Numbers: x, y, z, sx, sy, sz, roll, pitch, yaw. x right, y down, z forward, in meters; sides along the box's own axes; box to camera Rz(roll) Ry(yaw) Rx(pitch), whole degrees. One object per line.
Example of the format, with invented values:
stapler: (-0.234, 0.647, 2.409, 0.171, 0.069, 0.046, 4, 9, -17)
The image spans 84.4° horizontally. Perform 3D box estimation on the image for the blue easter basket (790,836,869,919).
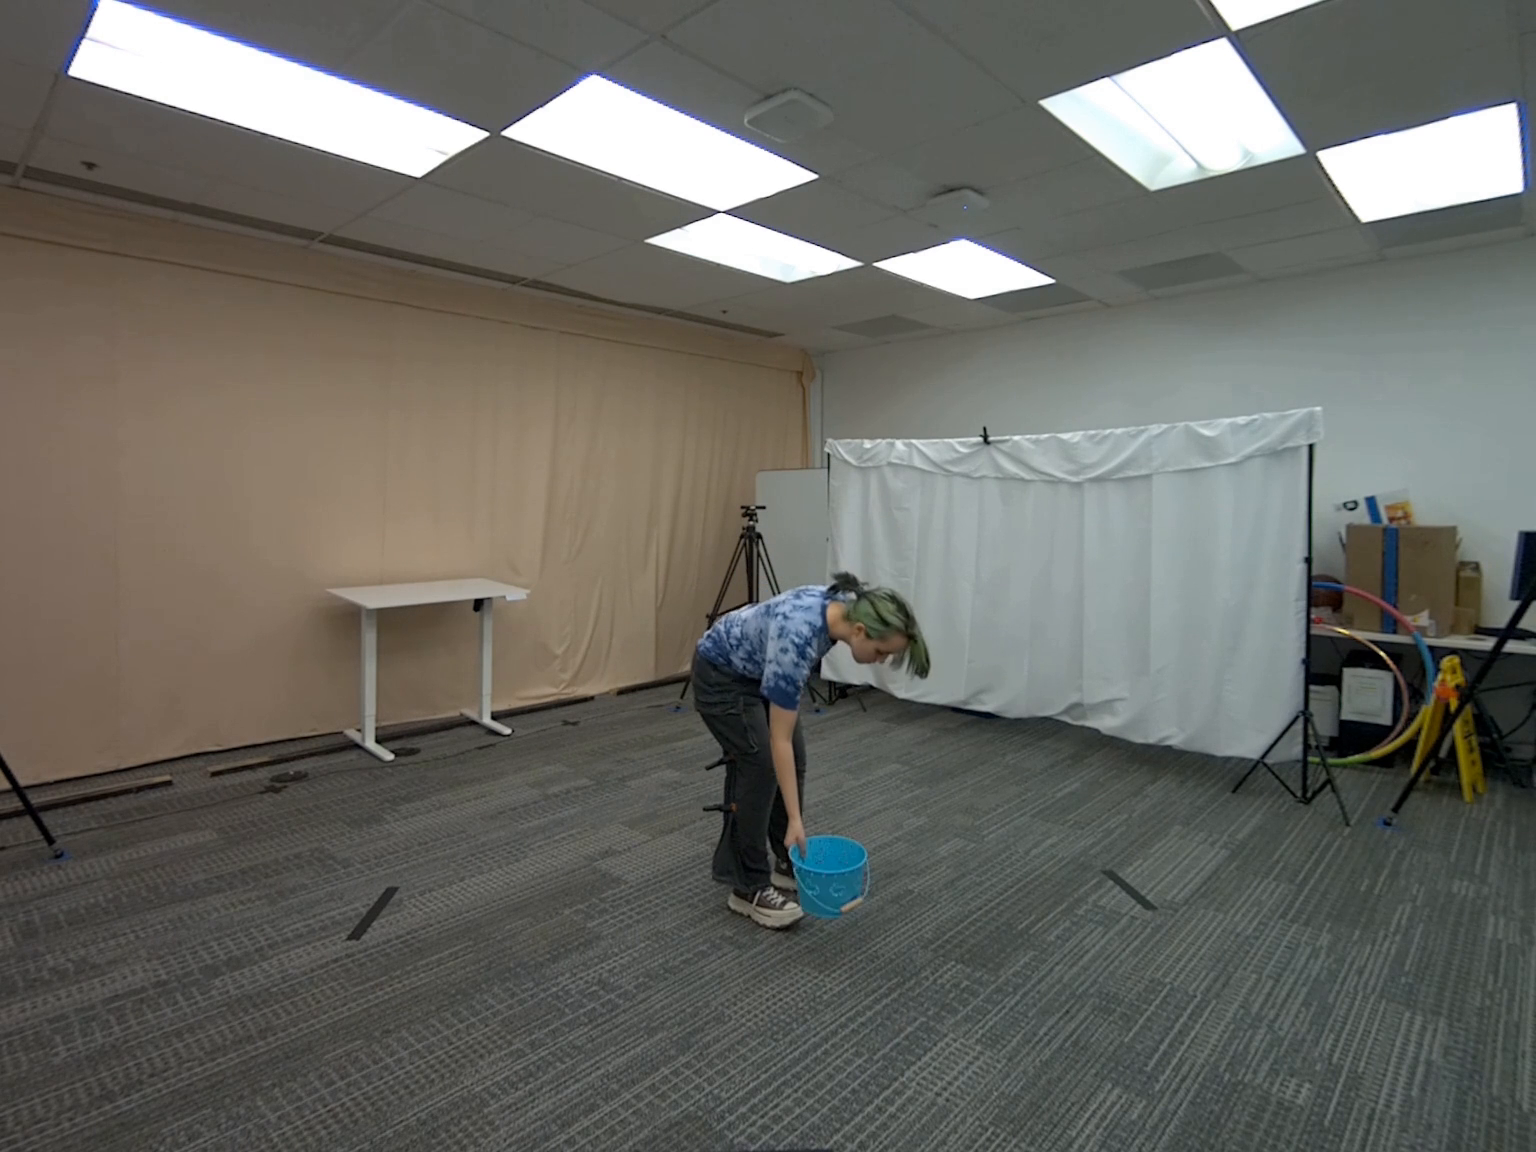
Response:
blue easter basket: (0.189, 0.896, 2.492, 0.243, 0.155, 0.245, -3, 6, -2)
